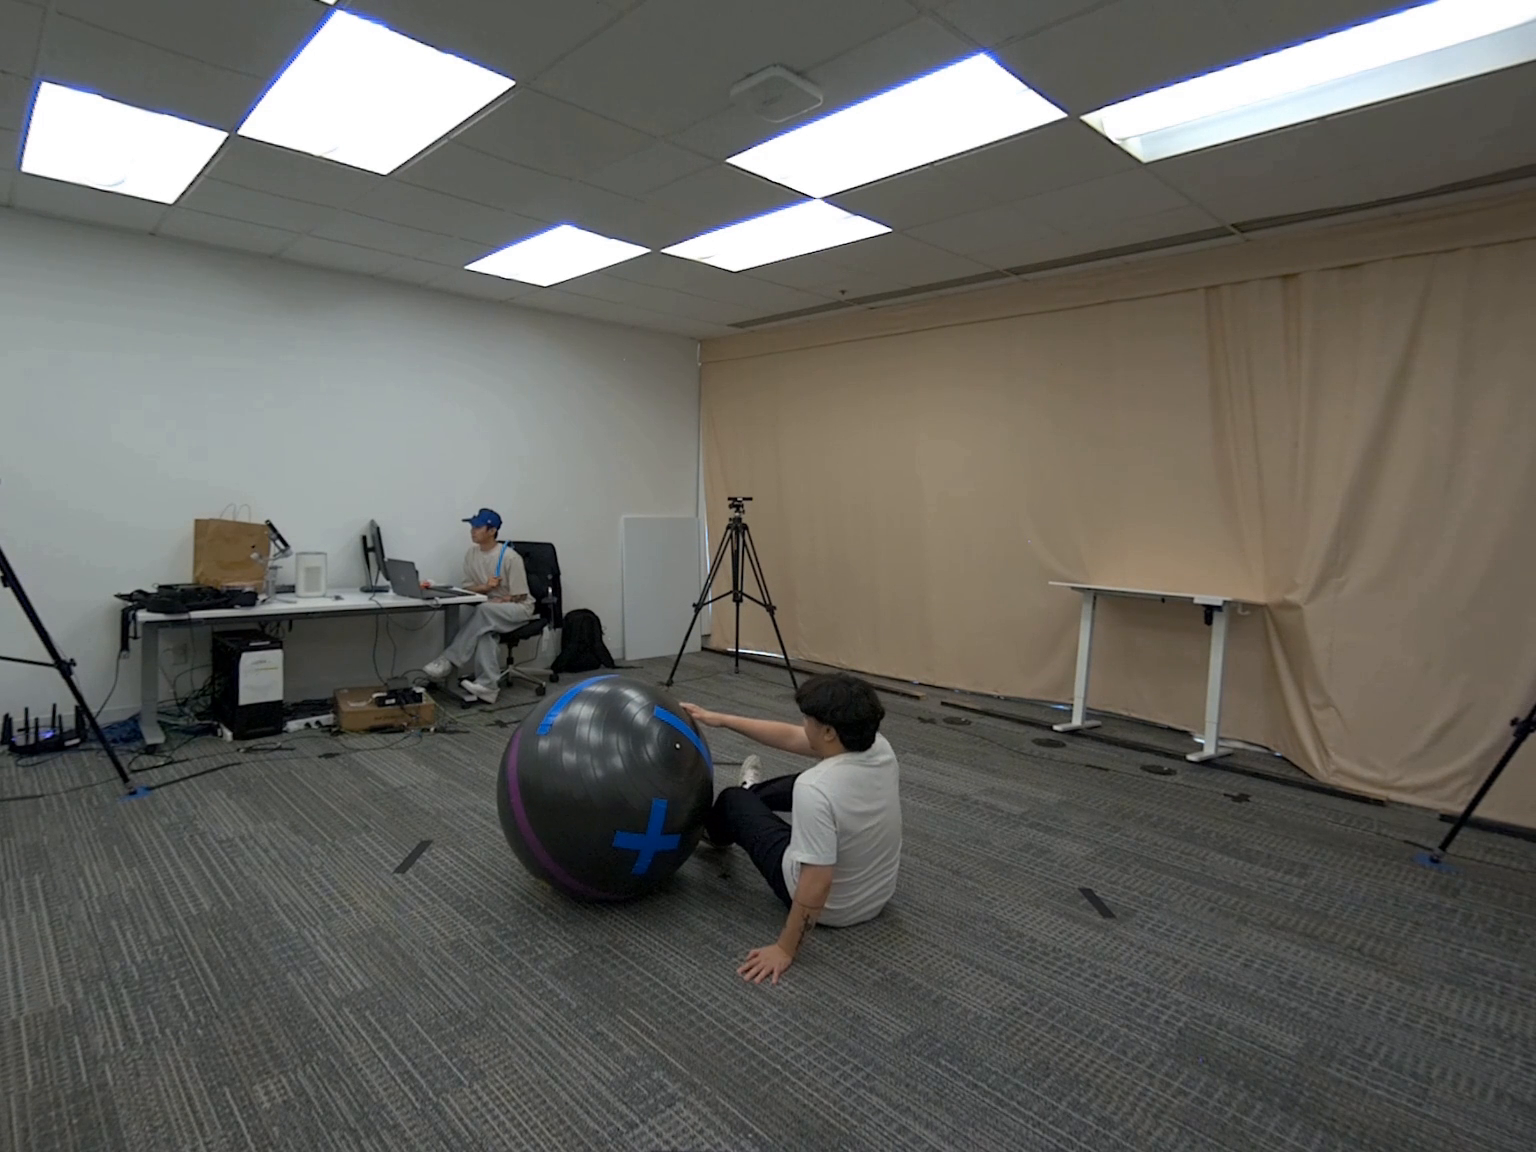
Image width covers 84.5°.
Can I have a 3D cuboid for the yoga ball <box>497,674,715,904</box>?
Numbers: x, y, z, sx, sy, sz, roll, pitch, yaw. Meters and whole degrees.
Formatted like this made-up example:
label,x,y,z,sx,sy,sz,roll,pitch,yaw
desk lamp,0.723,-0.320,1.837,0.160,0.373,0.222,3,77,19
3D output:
label,x,y,z,sx,sy,sz,roll,pitch,yaw
yoga ball,-0.577,0.744,2.971,0.757,0.756,0.760,1,4,-1
